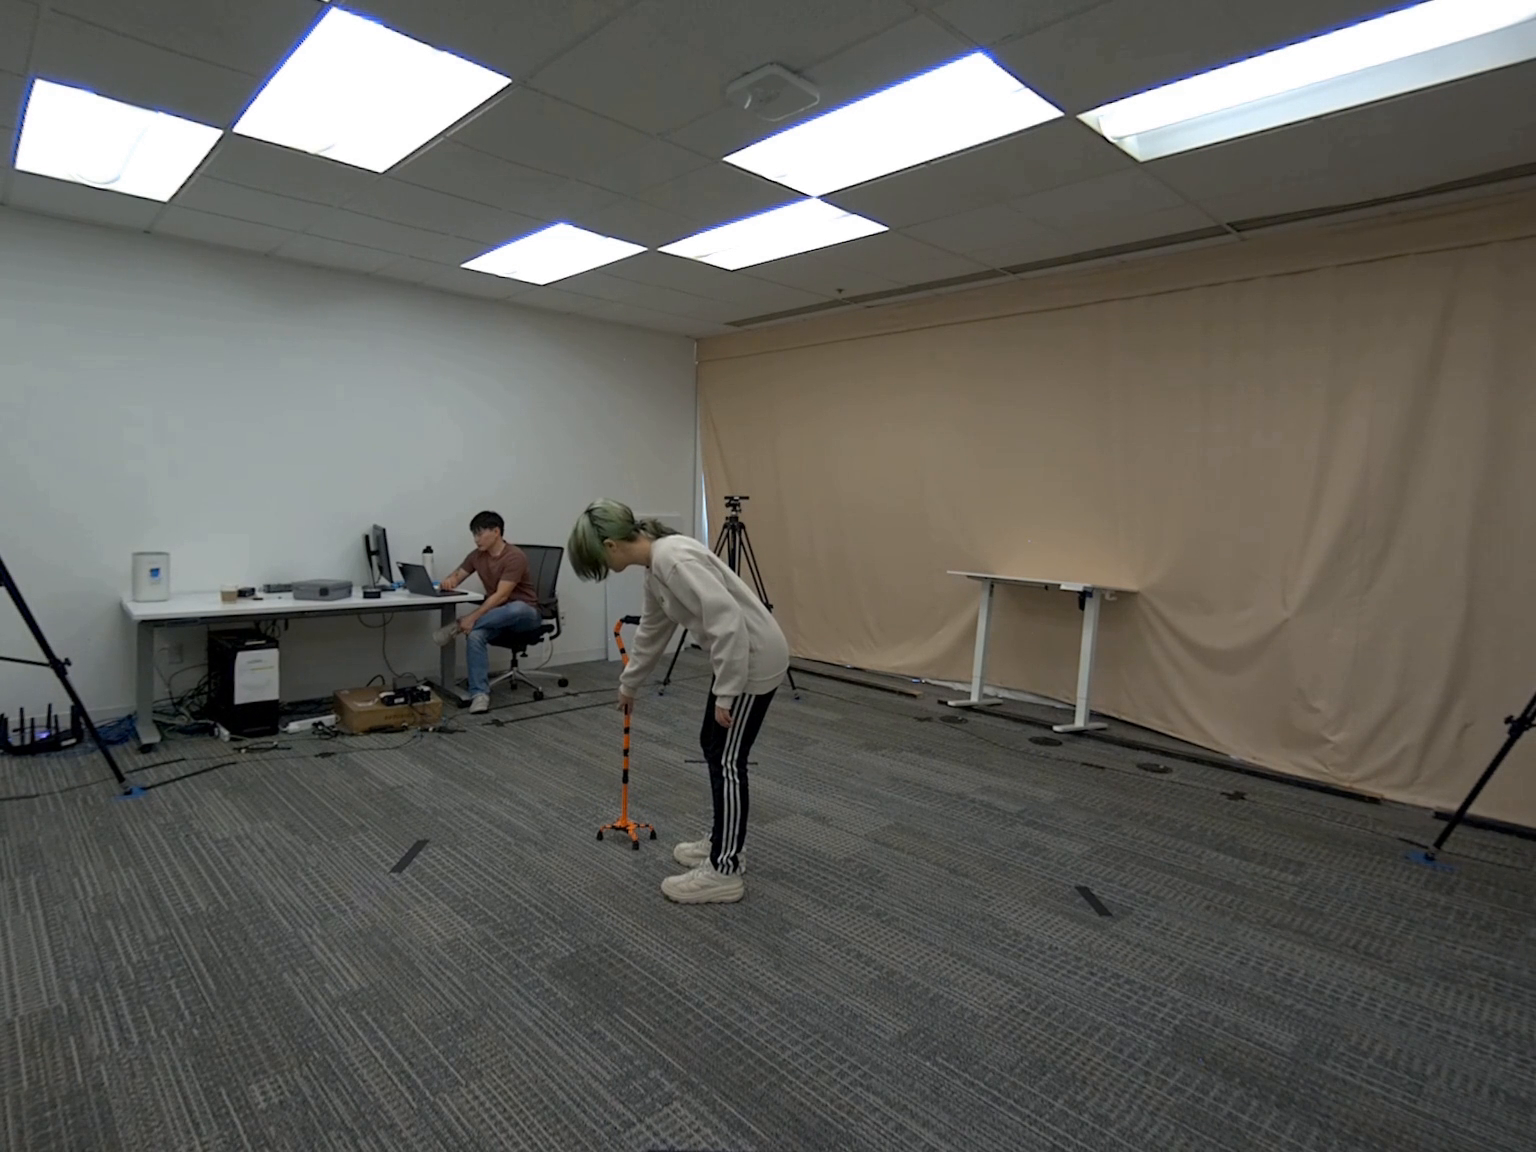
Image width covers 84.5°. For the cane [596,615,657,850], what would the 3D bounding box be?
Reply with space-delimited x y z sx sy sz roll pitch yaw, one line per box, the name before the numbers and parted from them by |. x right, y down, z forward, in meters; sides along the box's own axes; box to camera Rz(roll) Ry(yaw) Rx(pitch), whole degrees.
cane | -0.570 0.612 3.386 0.211 0.906 0.149 2 3 29
